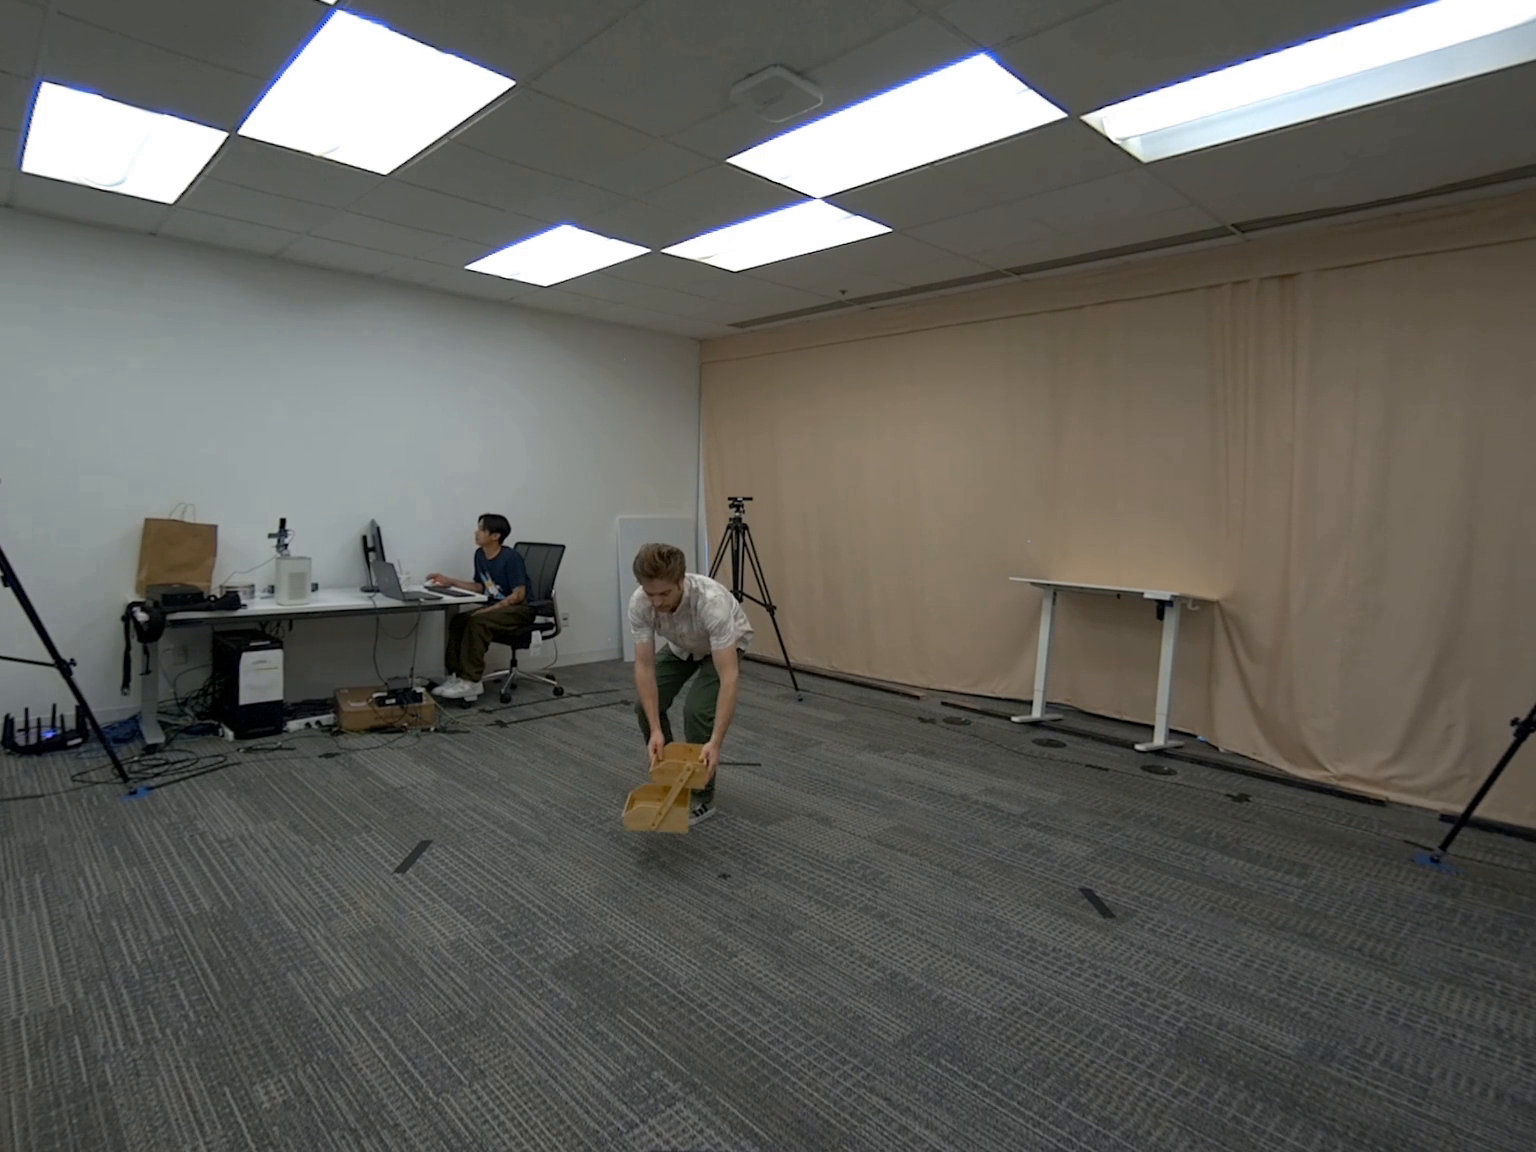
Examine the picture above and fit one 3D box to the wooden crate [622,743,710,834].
[{"bbox_3d":[-0.411,0.807,3.248,0.301,0.273,0.326,4,1,-5],"label":"wooden crate"}]
